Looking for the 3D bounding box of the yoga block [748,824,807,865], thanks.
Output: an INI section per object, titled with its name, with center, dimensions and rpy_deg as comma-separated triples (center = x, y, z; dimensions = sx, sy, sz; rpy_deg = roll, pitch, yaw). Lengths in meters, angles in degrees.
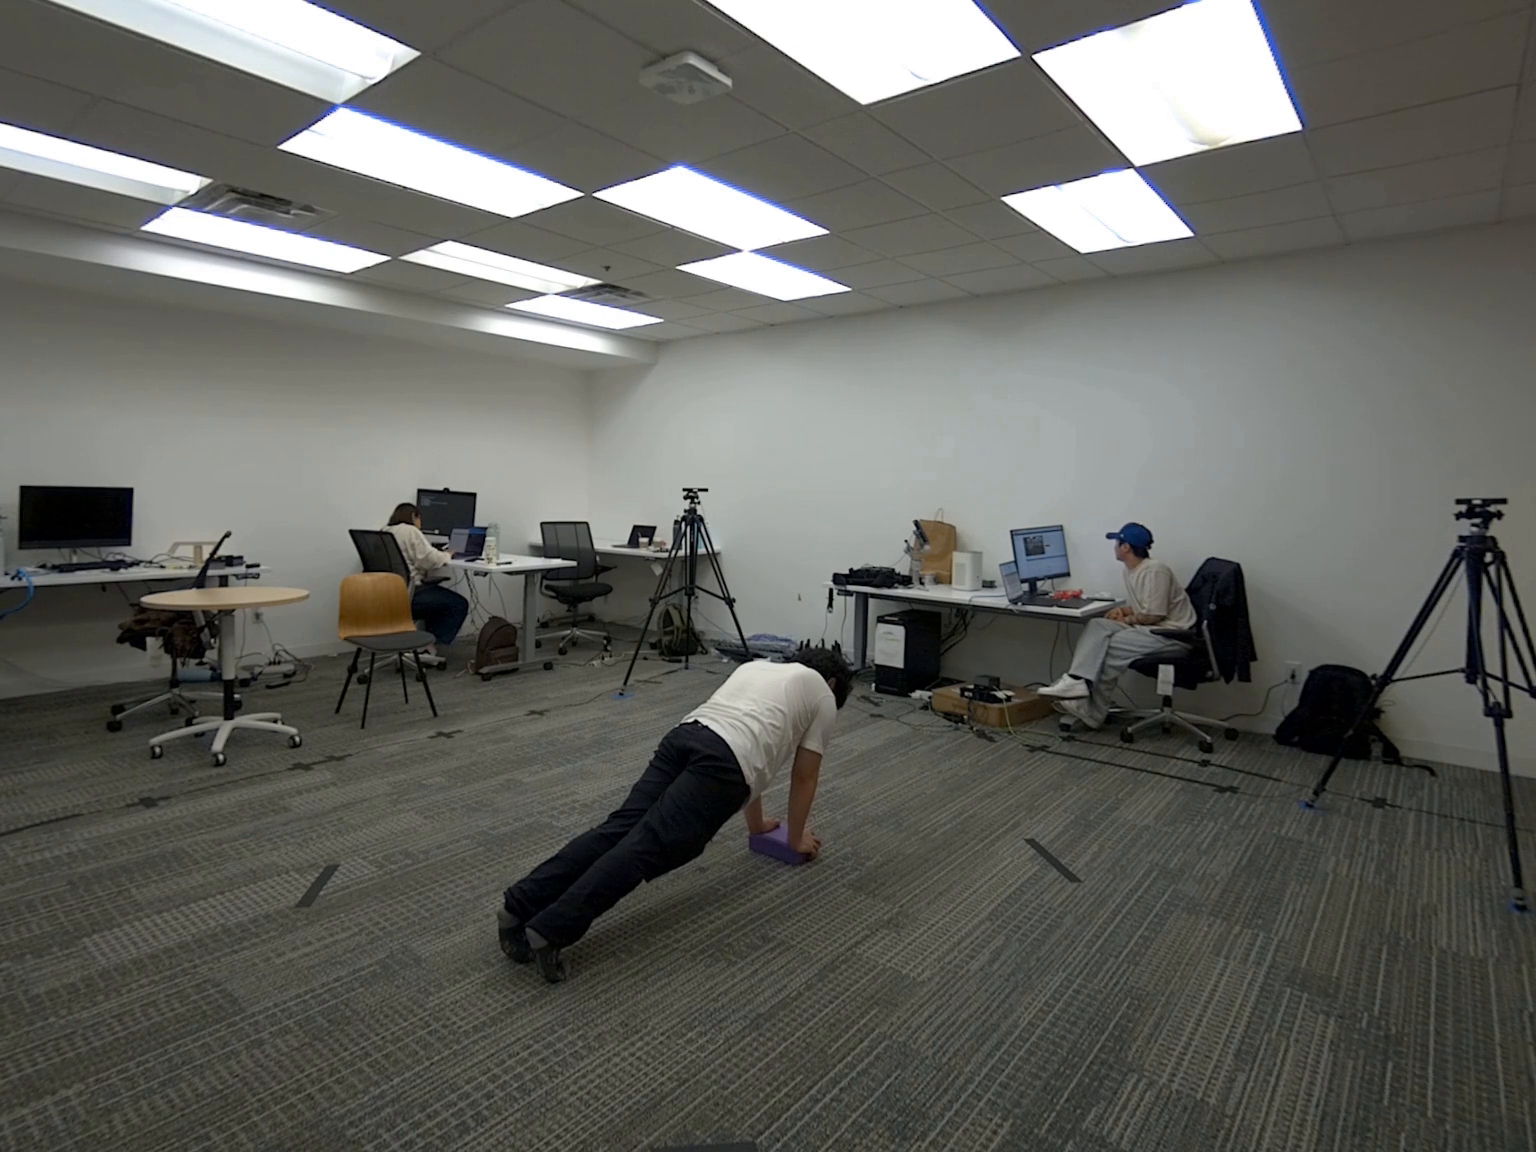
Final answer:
[yoga block]
center = 0.048, 1.025, 3.278
dimensions = 0.237, 0.076, 0.144
rpy_deg = 5, 6, 39
